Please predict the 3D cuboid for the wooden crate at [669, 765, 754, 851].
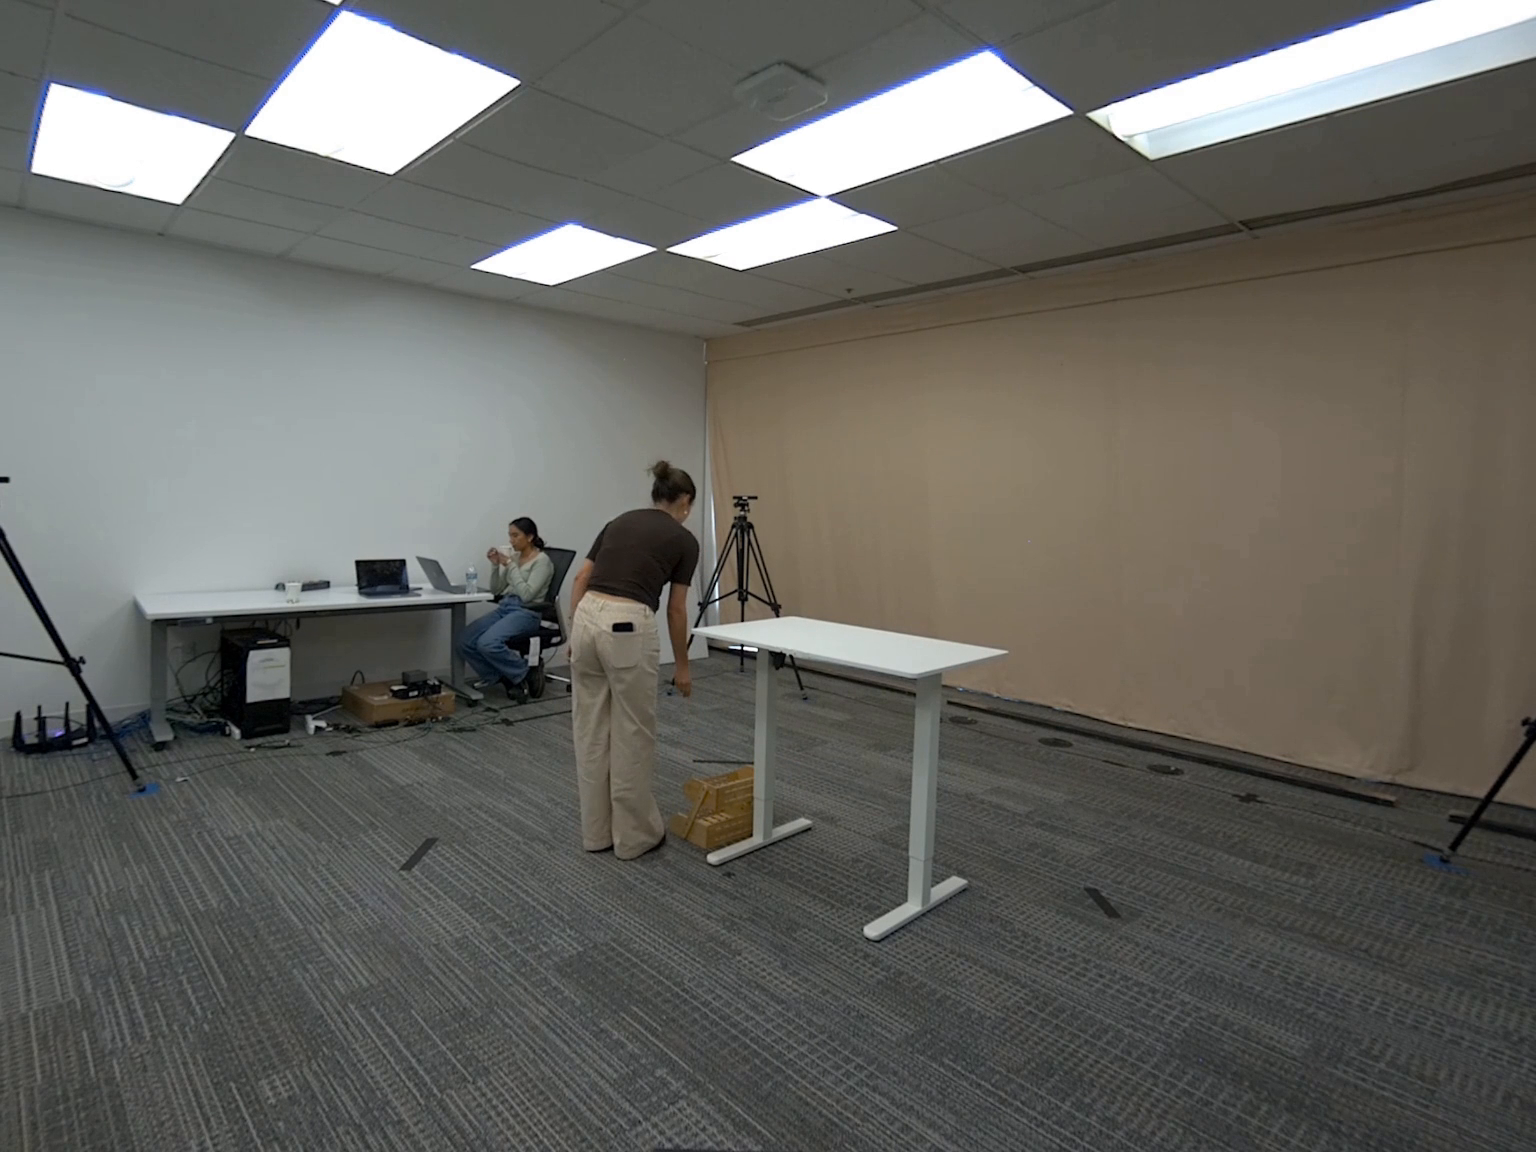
[{"bbox_3d":[-0.213,0.934,3.486,0.317,0.272,0.310,-2,6,-45],"label":"wooden crate"}]
